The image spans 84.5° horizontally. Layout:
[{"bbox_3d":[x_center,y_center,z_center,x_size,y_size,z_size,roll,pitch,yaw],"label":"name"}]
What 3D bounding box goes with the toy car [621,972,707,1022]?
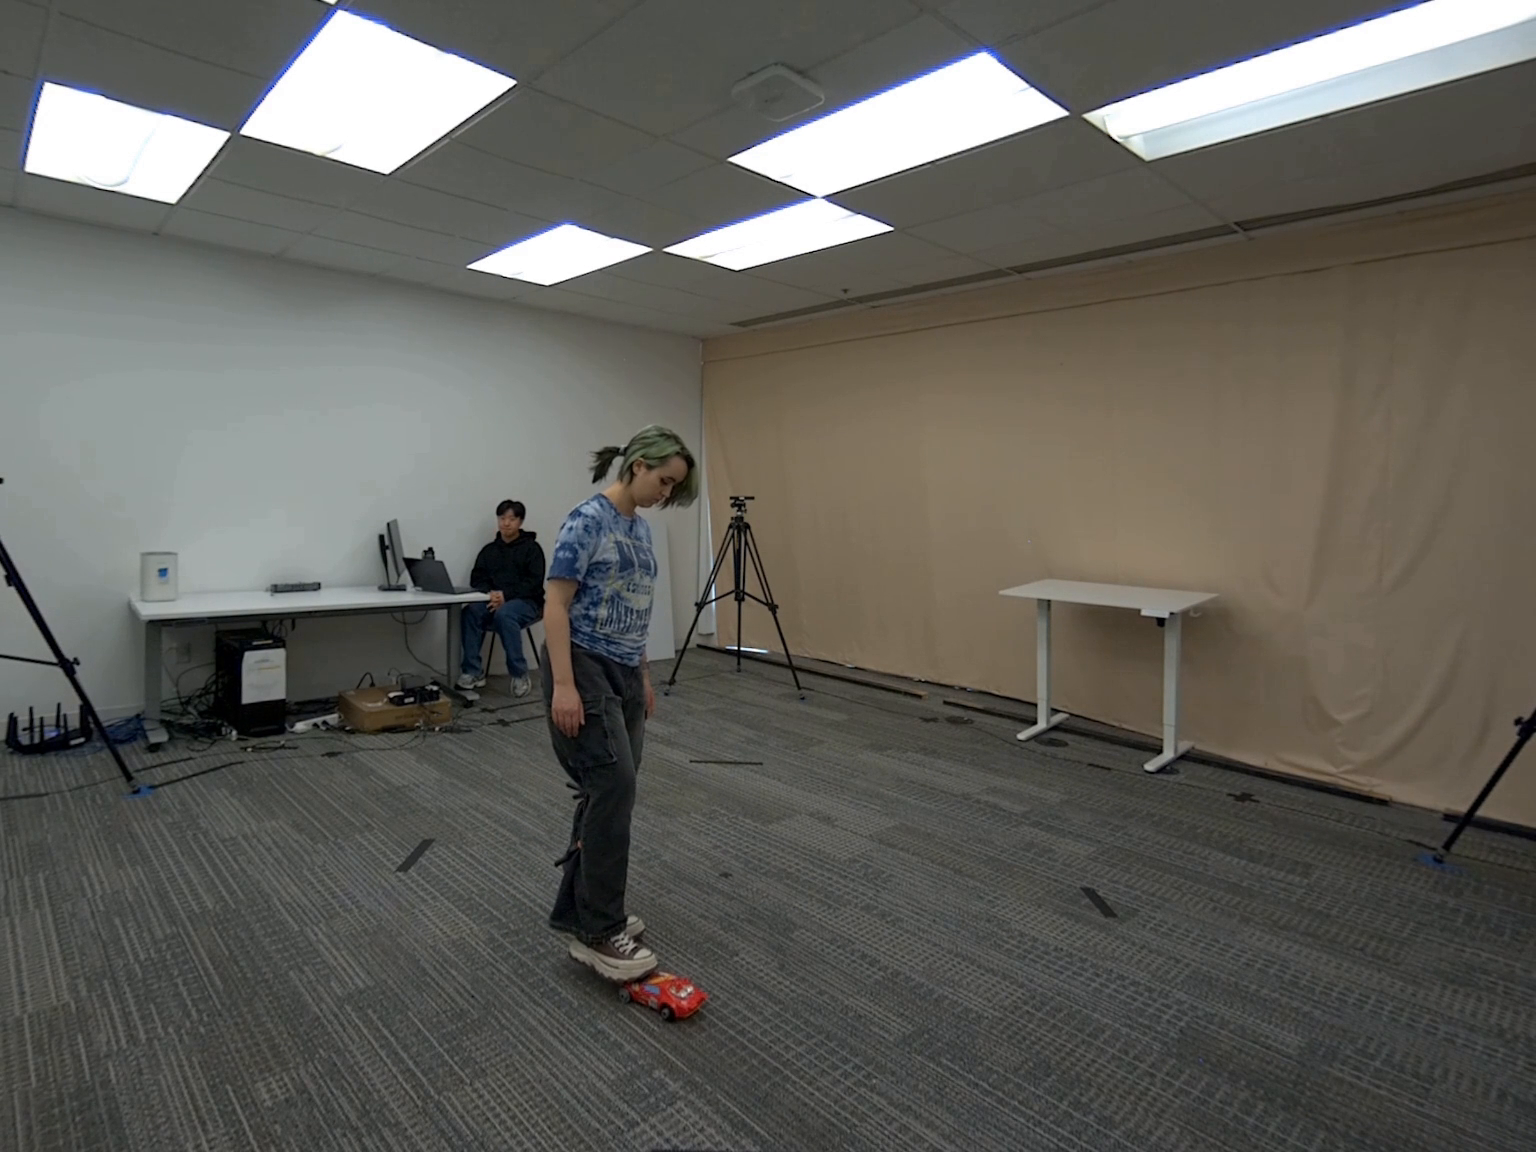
[{"bbox_3d":[-0.288,1.149,2.292,0.259,0.083,0.128,-10,-2,34],"label":"toy car"}]
